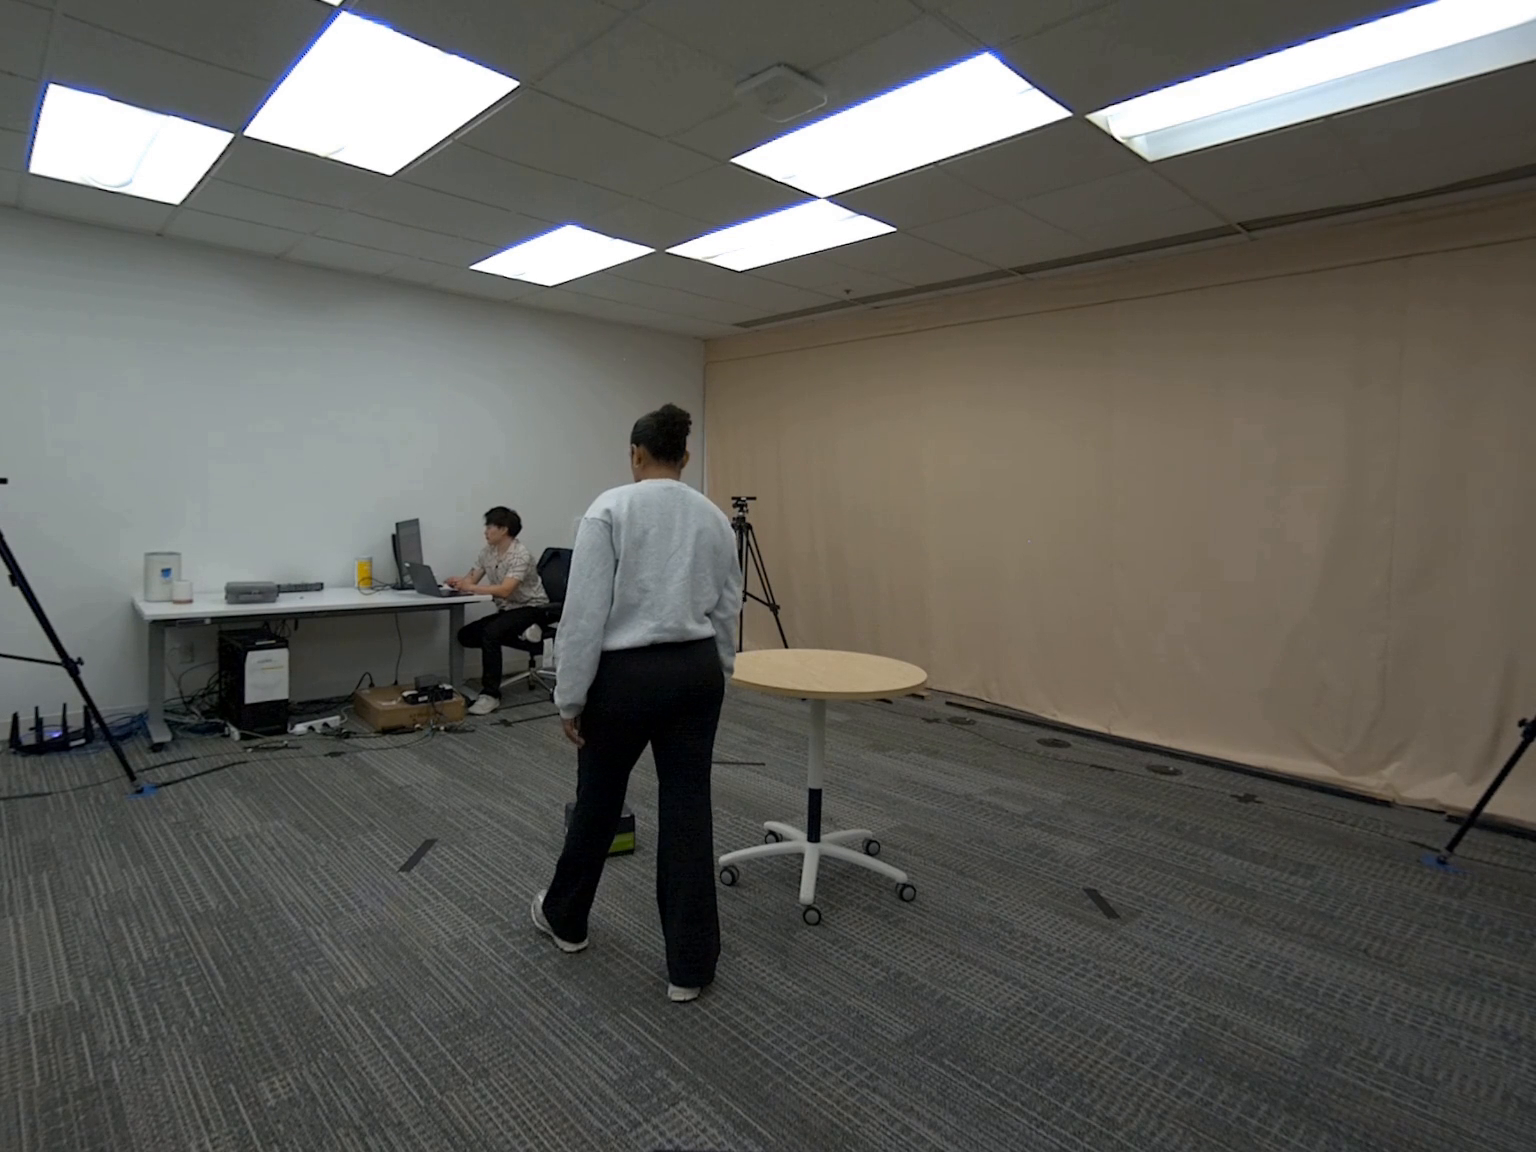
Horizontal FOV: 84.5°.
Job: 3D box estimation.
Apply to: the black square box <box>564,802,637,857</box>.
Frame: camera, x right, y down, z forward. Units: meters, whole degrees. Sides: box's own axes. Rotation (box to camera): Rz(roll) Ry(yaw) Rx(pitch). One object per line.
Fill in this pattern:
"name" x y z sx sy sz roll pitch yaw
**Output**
"black square box" -0.668 0.997 3.321 0.224 0.155 0.221 0 4 -25
